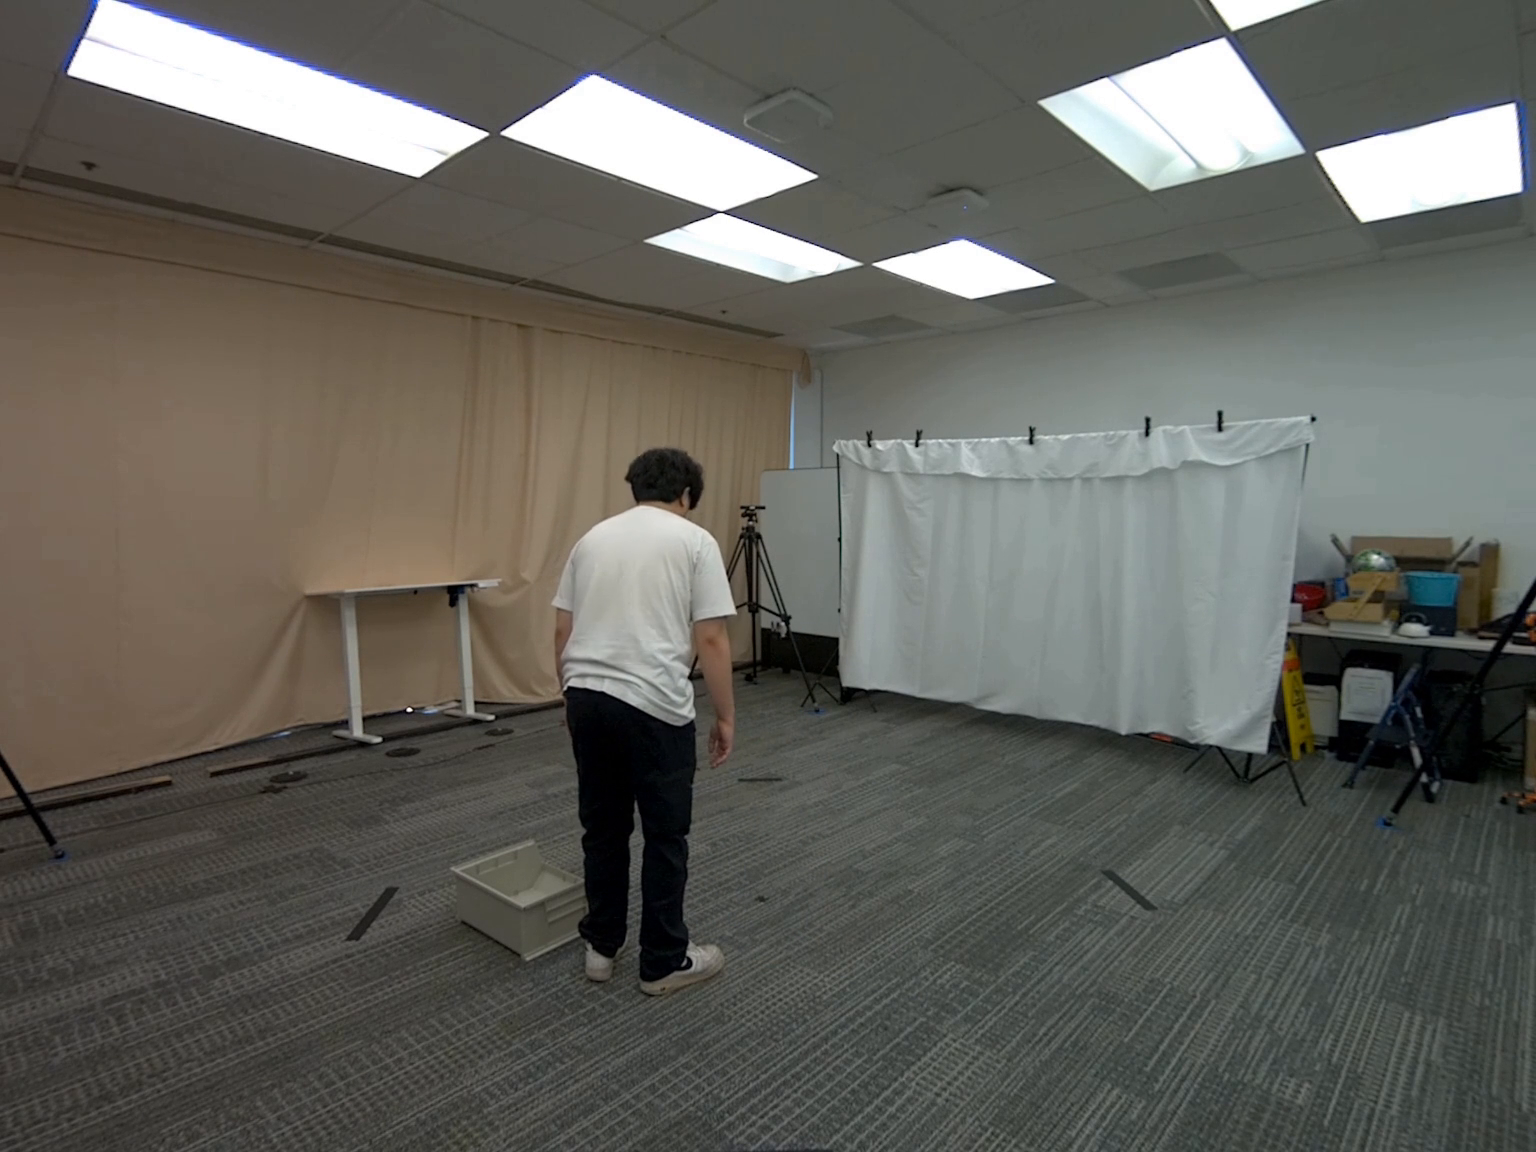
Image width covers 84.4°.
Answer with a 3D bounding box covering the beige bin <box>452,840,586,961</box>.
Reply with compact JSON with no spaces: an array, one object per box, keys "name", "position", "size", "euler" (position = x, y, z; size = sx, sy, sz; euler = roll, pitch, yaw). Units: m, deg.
[{"name":"beige bin","position":[-0.795,1.076,2.837],"size":[0.436,0.188,0.366],"euler":[4,7,40]}]
